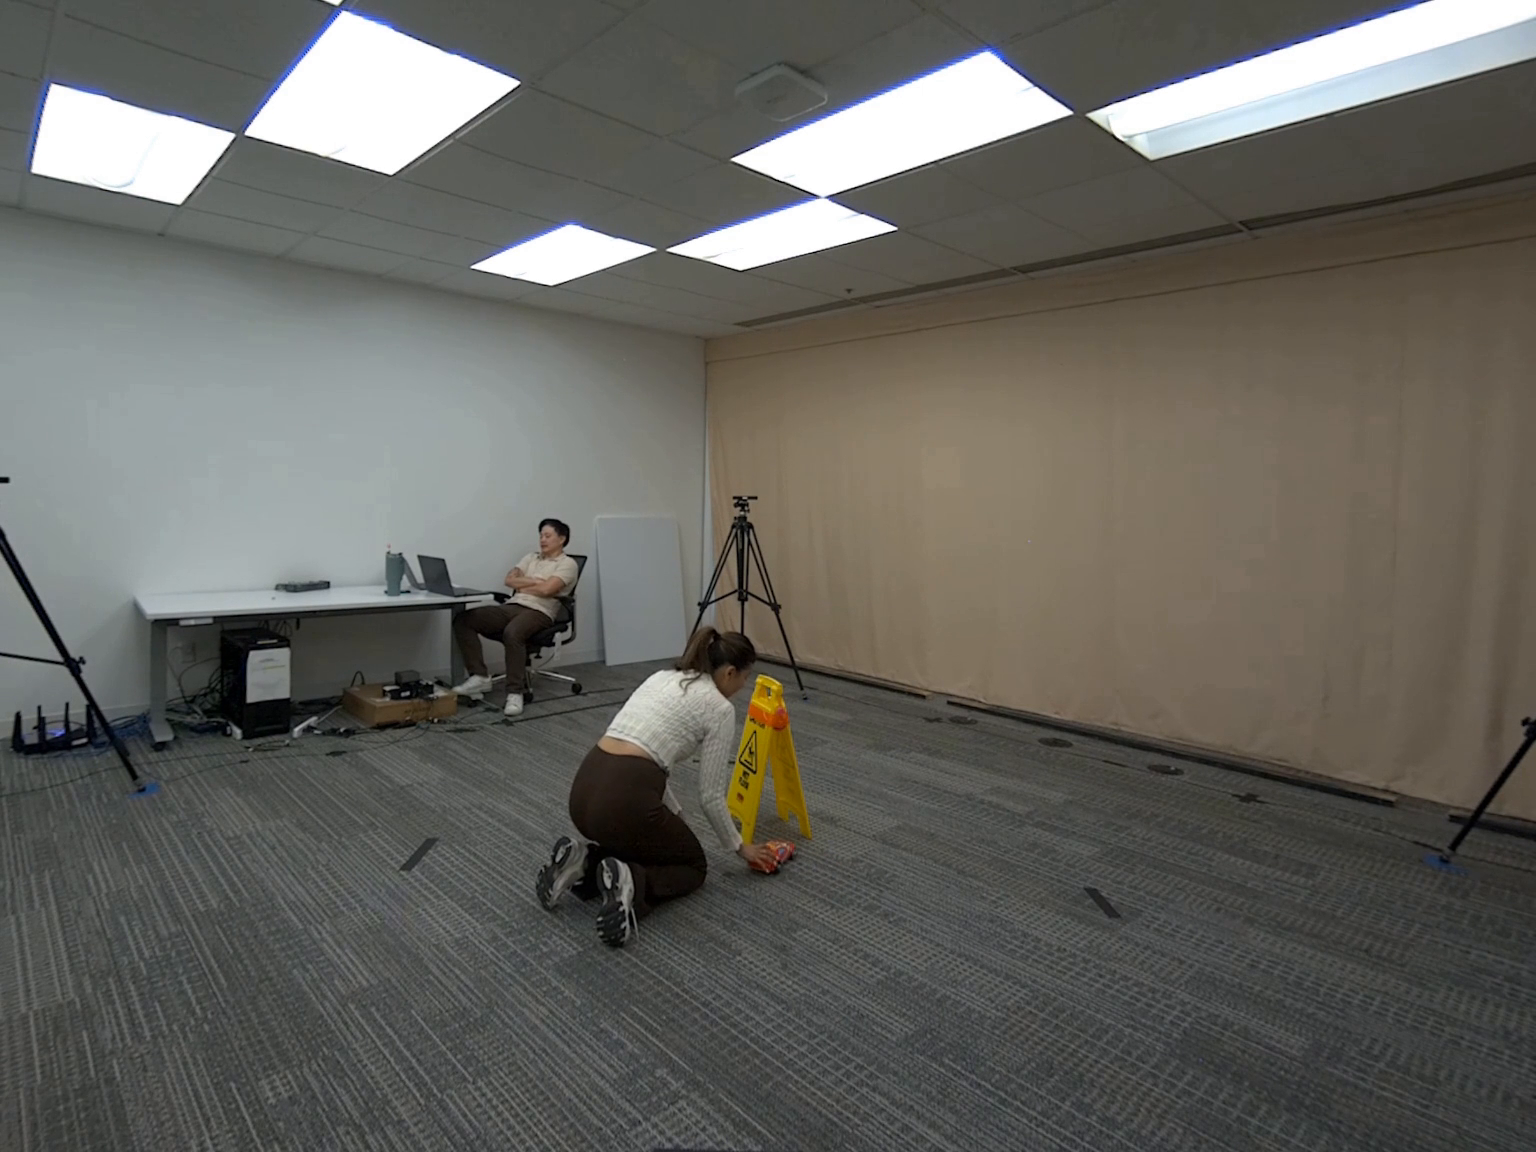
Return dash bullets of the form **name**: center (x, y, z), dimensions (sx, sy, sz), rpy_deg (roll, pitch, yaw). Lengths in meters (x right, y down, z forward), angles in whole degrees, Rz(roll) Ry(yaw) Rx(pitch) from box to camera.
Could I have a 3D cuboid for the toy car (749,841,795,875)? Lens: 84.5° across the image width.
- **toy car**: center (-0.004, 1.070, 3.190), dimensions (0.133, 0.083, 0.248), rpy_deg (5, -8, 22)
